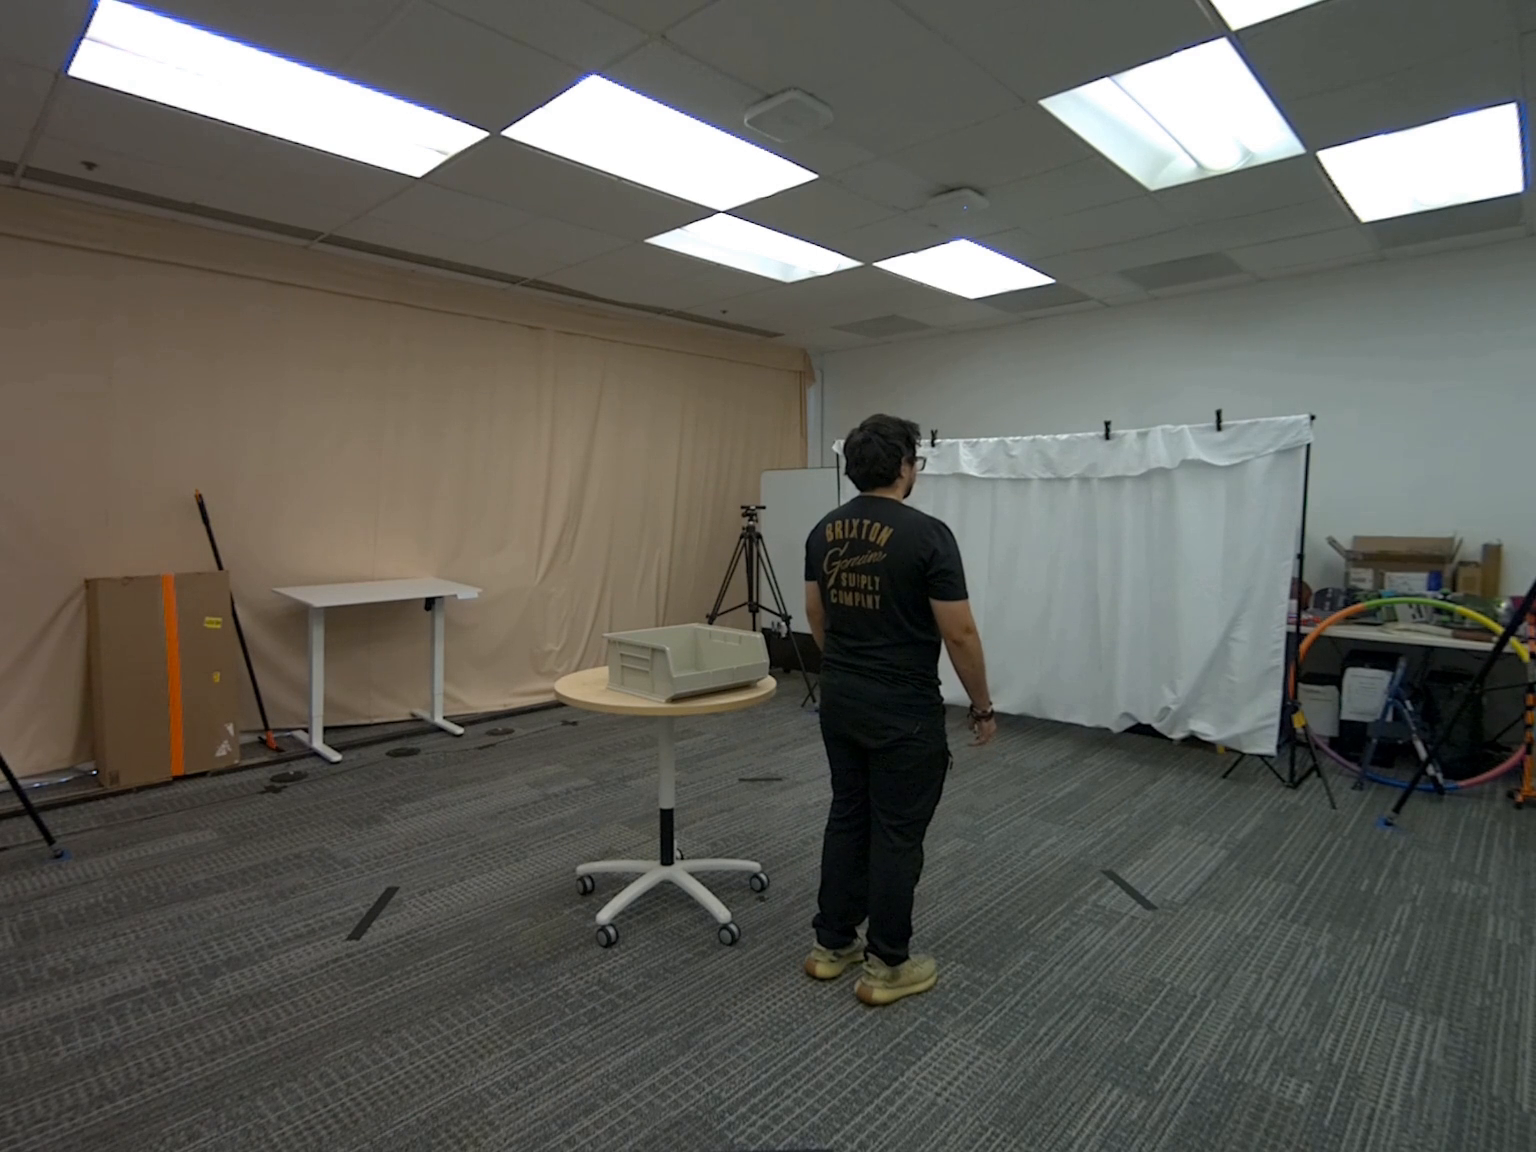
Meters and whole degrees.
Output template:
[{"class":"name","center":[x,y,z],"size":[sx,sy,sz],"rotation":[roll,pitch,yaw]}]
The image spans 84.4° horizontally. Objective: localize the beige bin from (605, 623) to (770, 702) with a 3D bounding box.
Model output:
[{"class":"beige bin","center":[-0.274,0.288,2.825],"size":[0.409,0.188,0.390],"rotation":[-5,5,-43]}]
